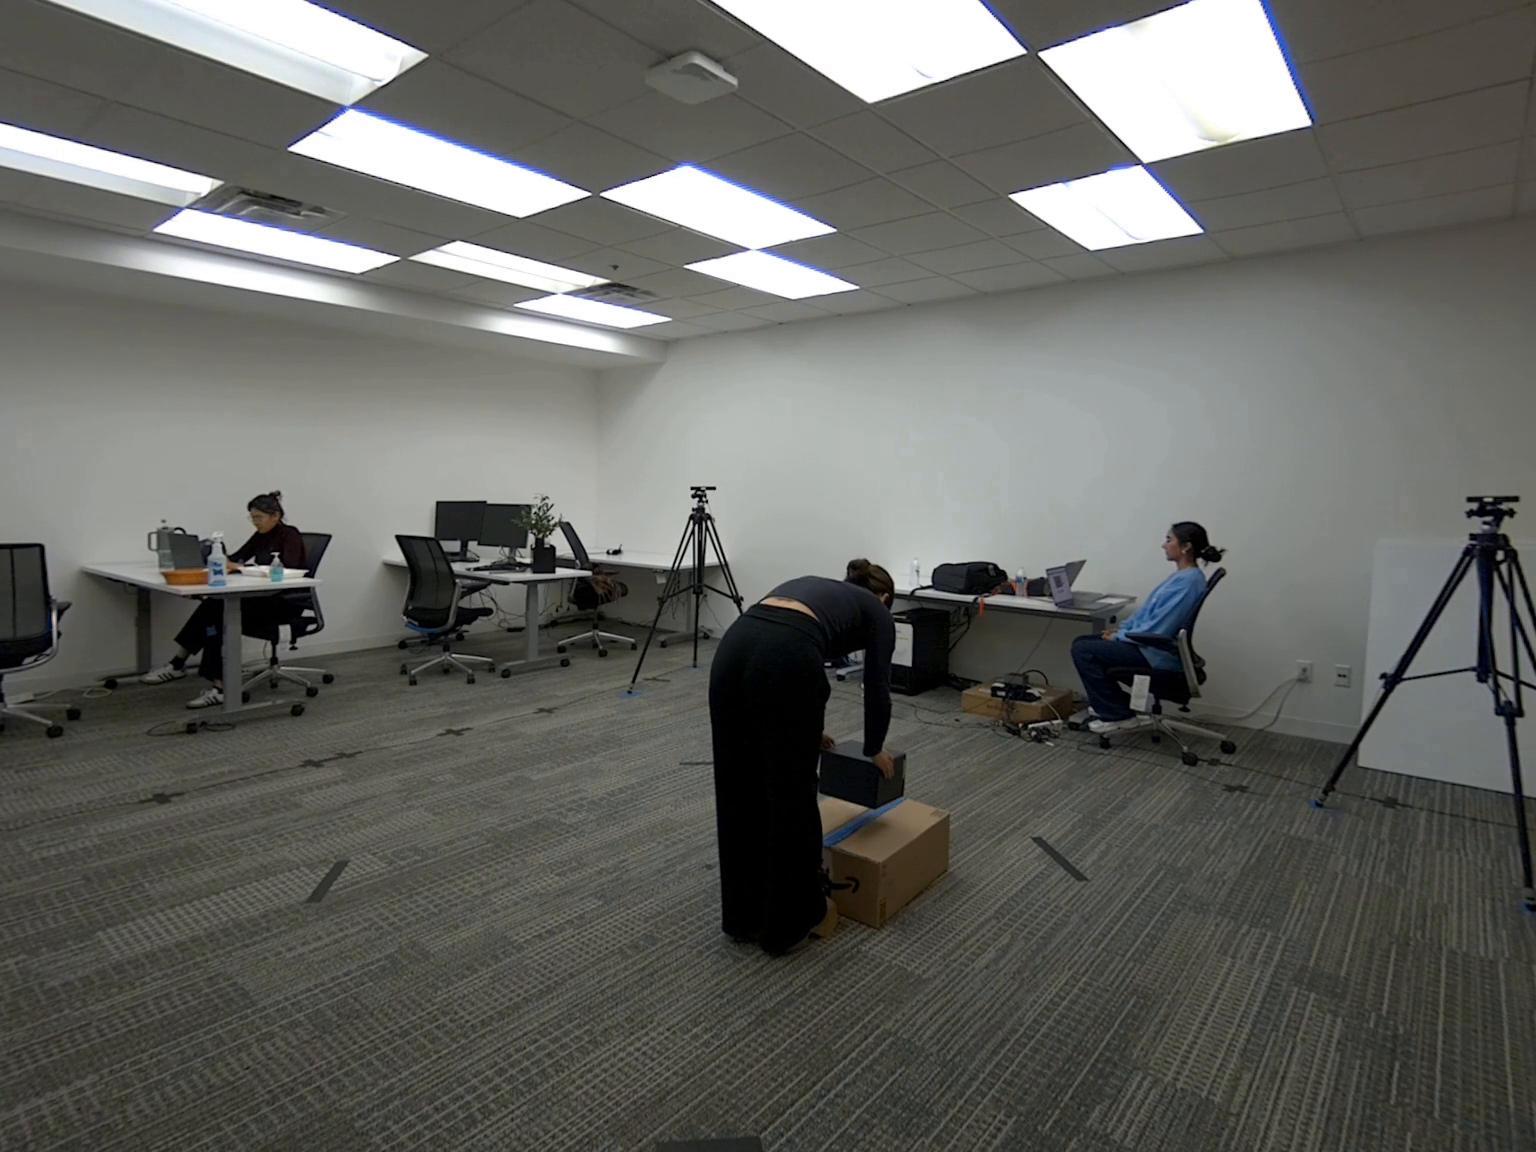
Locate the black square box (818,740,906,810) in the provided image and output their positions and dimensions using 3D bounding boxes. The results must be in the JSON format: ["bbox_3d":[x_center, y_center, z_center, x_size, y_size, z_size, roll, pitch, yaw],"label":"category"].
[{"bbox_3d":[0.331,0.690,2.996,0.235,0.156,0.210,6,3,36],"label":"black square box"}]
